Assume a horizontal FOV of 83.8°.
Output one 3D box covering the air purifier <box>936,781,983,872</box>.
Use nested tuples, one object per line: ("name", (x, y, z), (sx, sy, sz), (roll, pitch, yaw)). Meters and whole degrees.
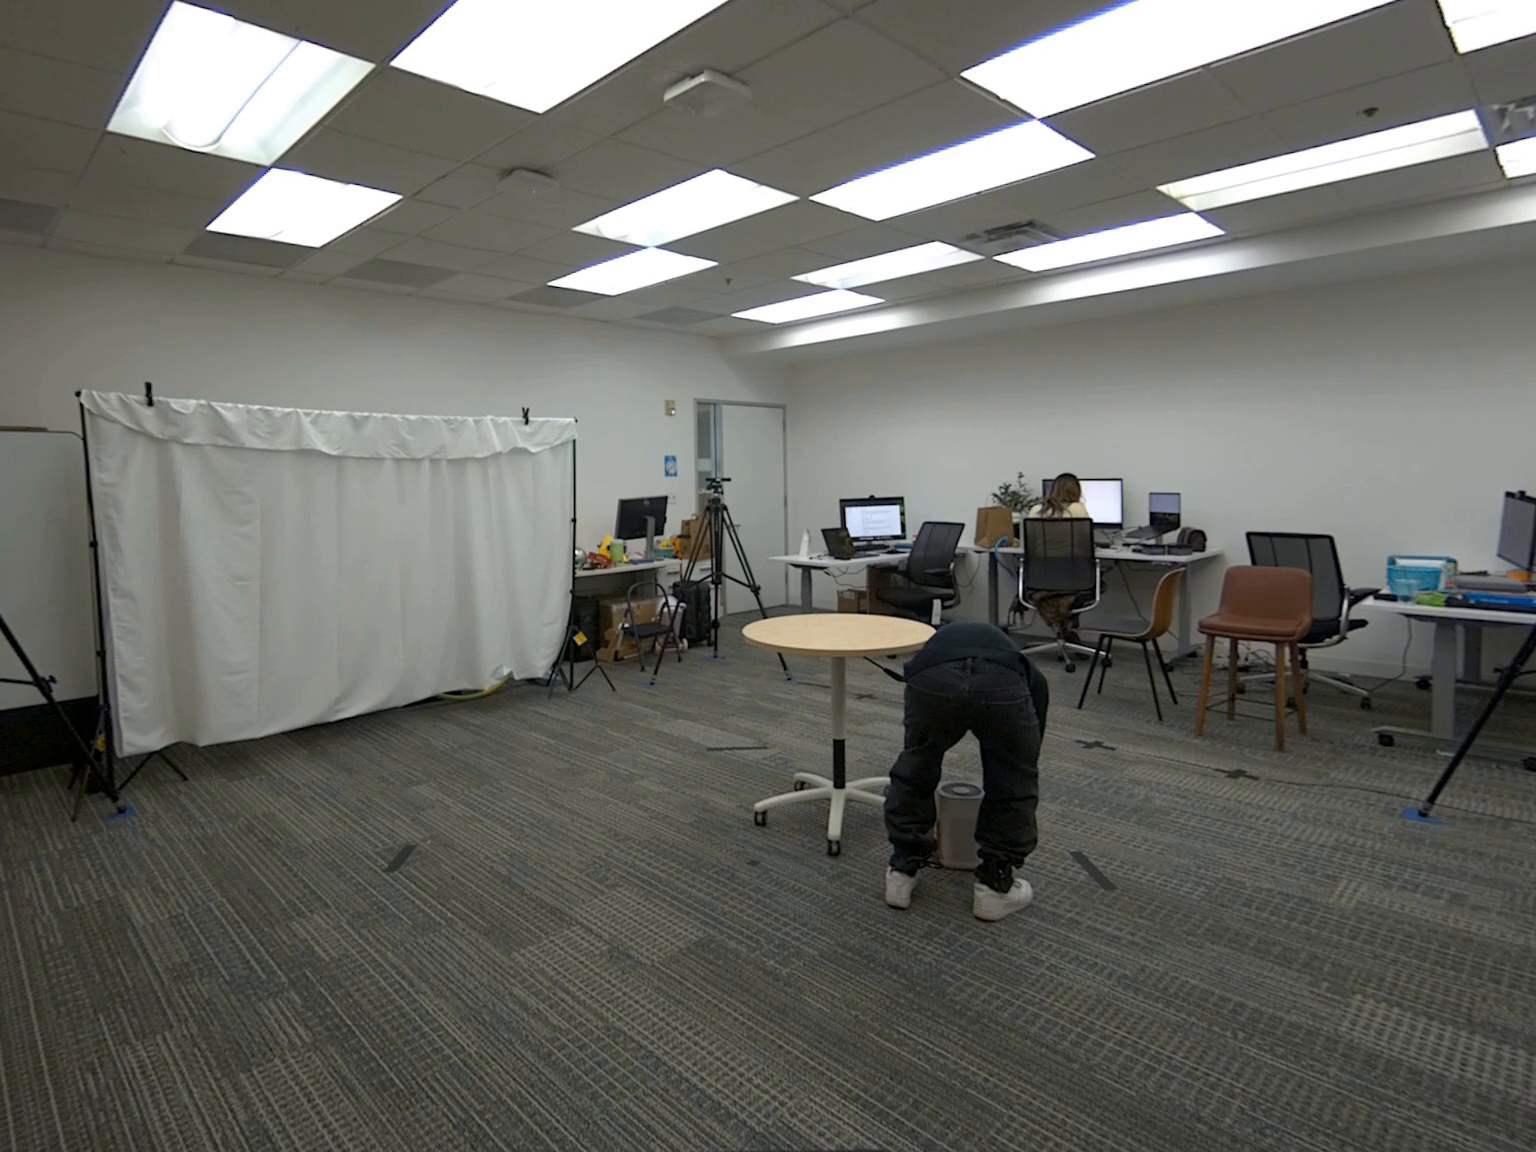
("air purifier", (0.692, 0.896, 3.082), (0.172, 0.264, 0.171), (0, 4, 3))
